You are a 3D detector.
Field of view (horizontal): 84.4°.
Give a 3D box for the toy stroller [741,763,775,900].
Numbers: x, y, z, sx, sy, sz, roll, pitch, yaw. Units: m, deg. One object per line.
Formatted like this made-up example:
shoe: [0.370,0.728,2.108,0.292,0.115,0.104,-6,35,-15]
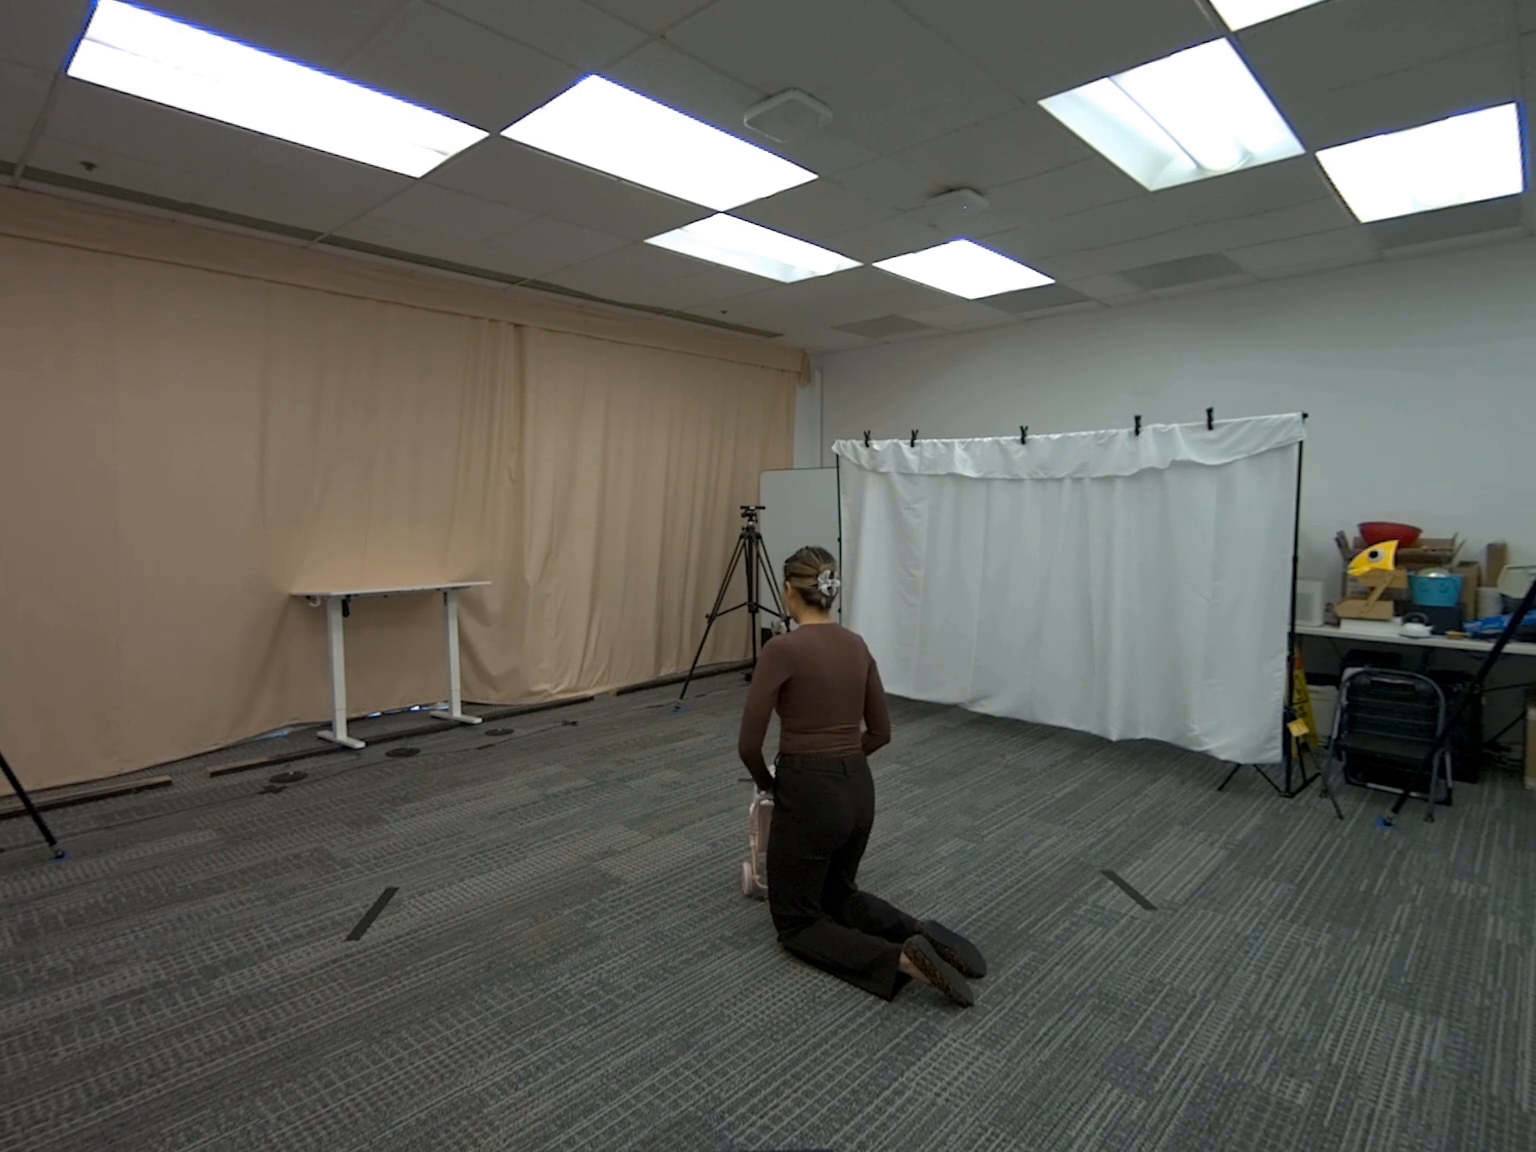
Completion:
toy stroller: [0.053,0.913,3.083,0.282,0.529,0.345,2,20,0]
